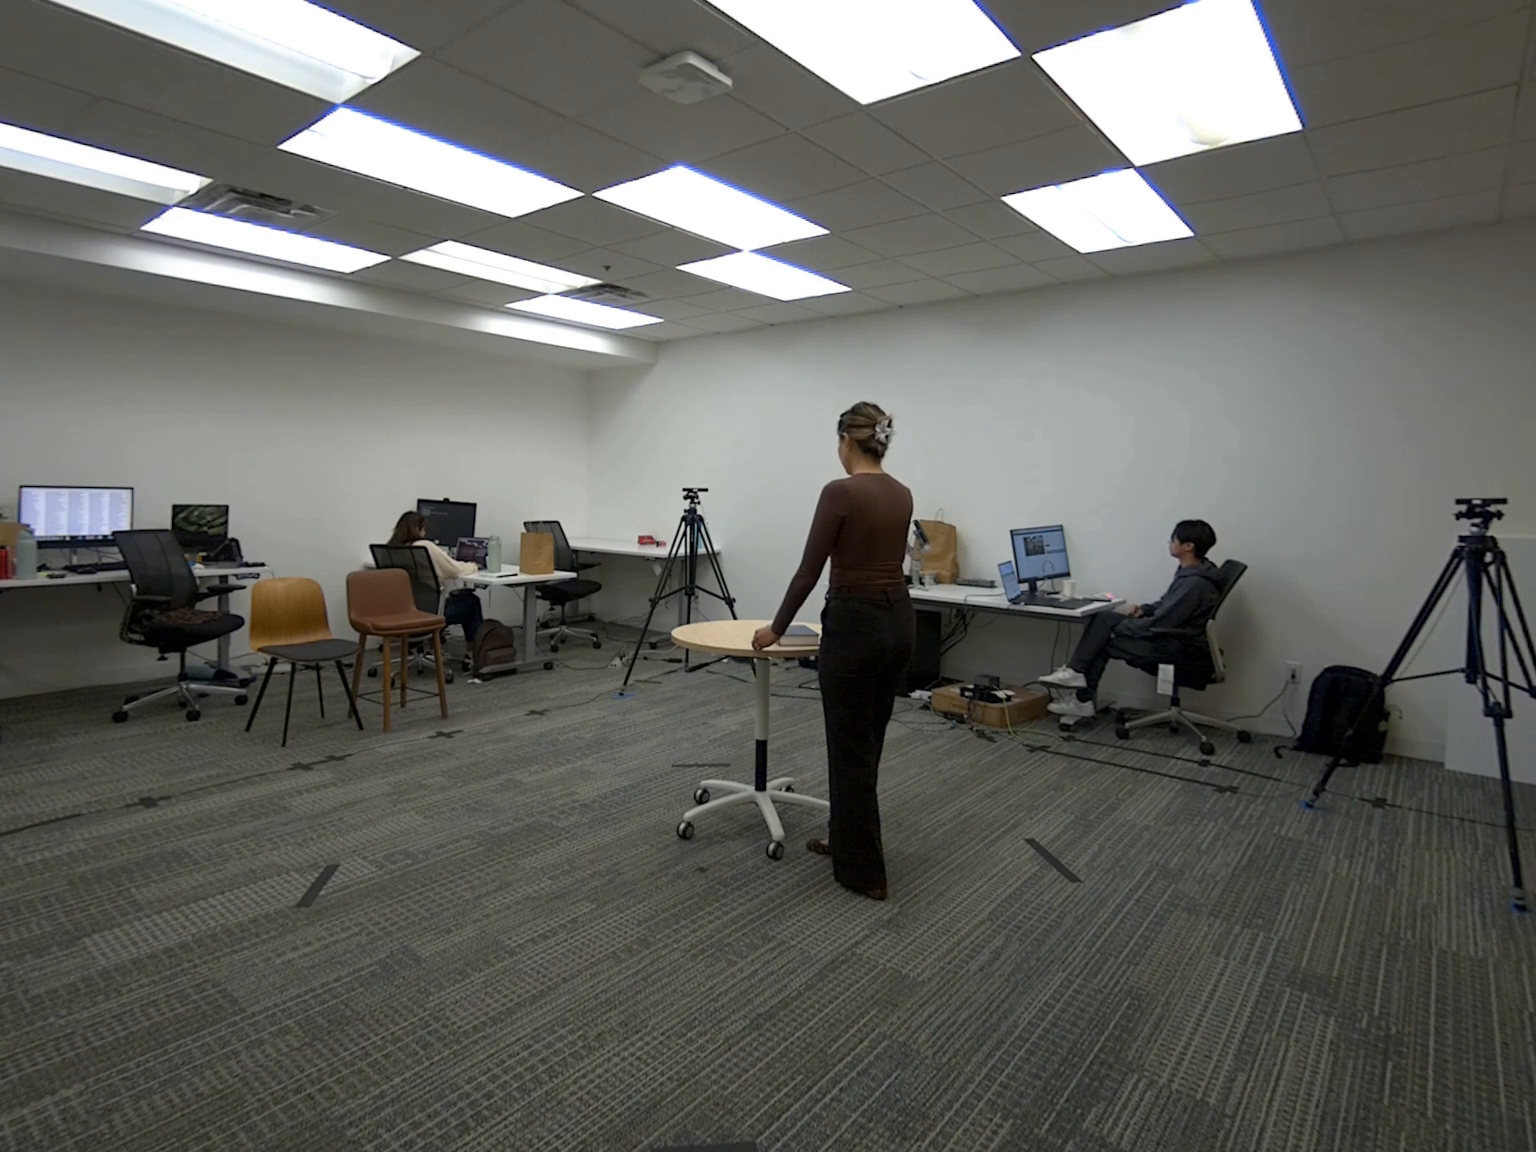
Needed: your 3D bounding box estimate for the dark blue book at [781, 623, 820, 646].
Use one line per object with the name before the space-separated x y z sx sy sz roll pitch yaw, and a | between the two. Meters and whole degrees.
dark blue book | 0.093 0.232 3.360 0.162 0.045 0.248 0 5 -11
